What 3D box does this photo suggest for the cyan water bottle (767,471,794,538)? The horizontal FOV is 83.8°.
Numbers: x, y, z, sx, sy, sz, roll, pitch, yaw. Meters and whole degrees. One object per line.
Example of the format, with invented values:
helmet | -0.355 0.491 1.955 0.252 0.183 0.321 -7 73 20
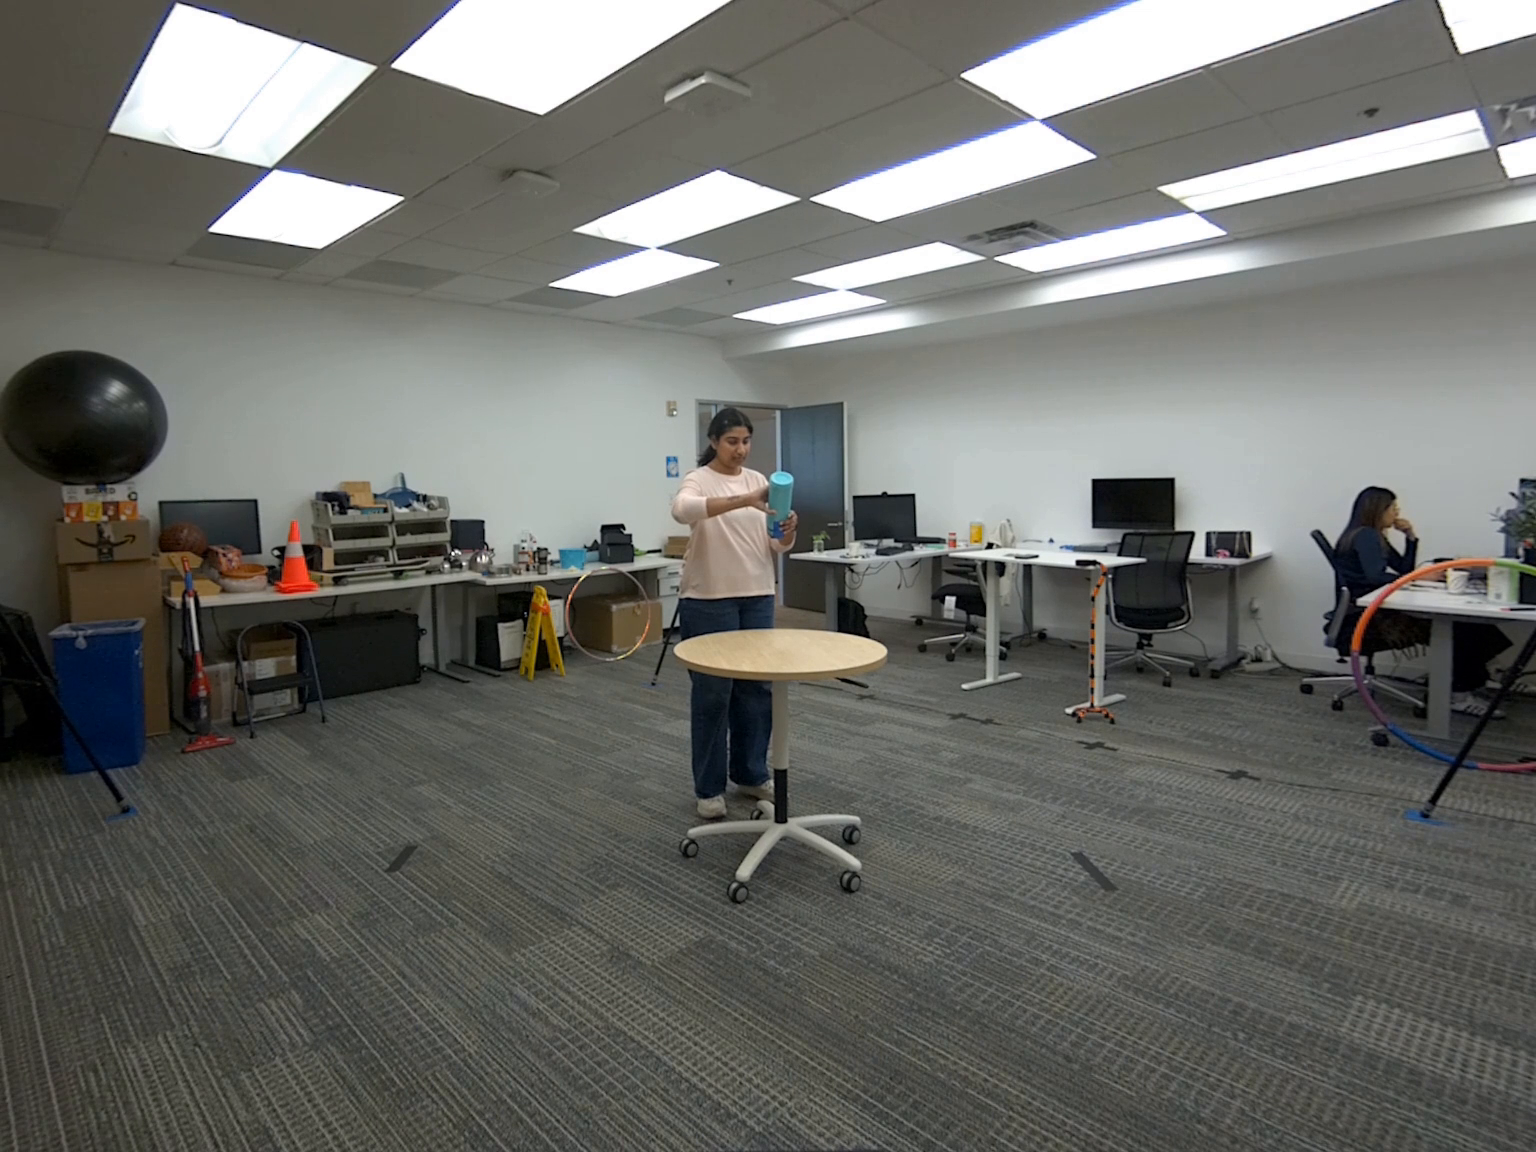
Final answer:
cyan water bottle | 0.042 -0.263 3.330 0.092 0.276 0.095 1 37 -3
